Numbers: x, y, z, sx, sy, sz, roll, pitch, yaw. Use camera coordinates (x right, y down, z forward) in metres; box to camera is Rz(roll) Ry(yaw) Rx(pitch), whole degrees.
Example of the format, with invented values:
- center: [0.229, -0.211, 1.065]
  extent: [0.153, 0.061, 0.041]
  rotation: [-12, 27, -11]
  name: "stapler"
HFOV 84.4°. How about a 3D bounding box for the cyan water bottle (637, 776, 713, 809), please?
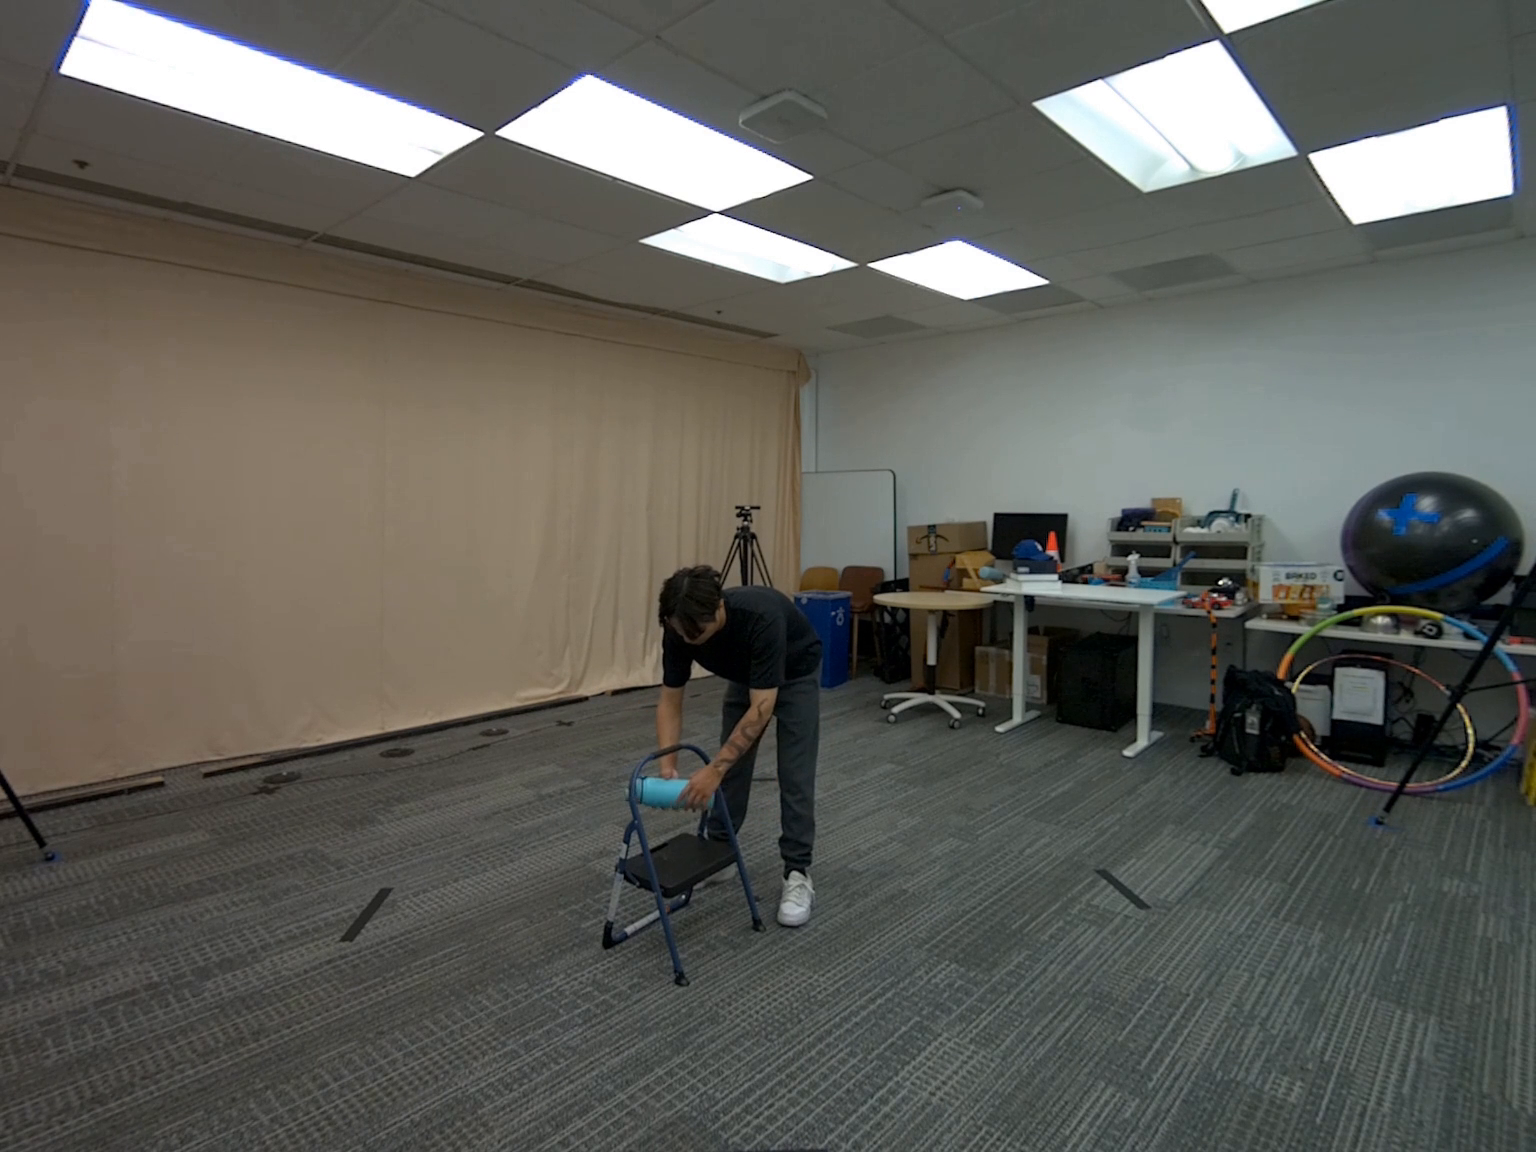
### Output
- center: [-0.324, 0.706, 2.708]
  extent: [0.281, 0.092, 0.093]
  rotation: [5, 3, -7]
  name: "cyan water bottle"
